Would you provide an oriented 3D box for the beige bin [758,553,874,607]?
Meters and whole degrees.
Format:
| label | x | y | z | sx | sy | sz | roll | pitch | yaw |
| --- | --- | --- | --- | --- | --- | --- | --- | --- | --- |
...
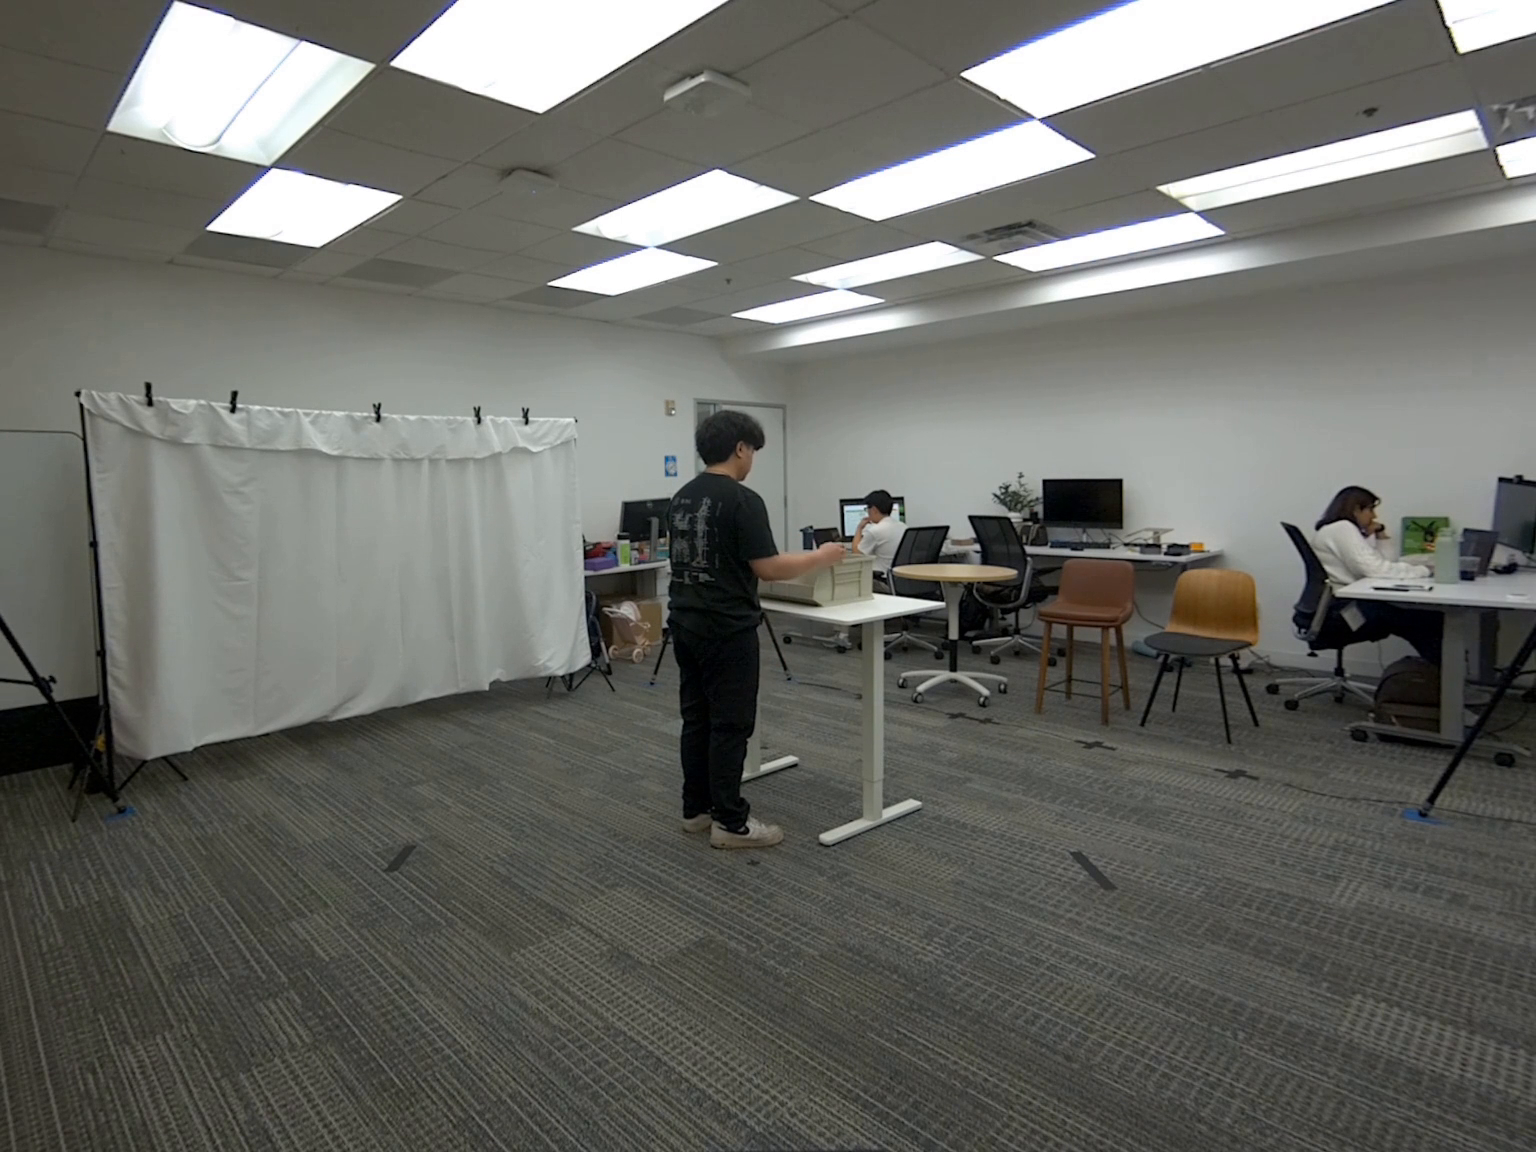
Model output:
| label | x | y | z | sx | sy | sz | roll | pitch | yaw |
| --- | --- | --- | --- | --- | --- | --- | --- | --- | --- |
| beige bin | 0.178 | 0.010 | 3.622 | 0.367 | 0.188 | 0.435 | -4 | 6 | -39 |
